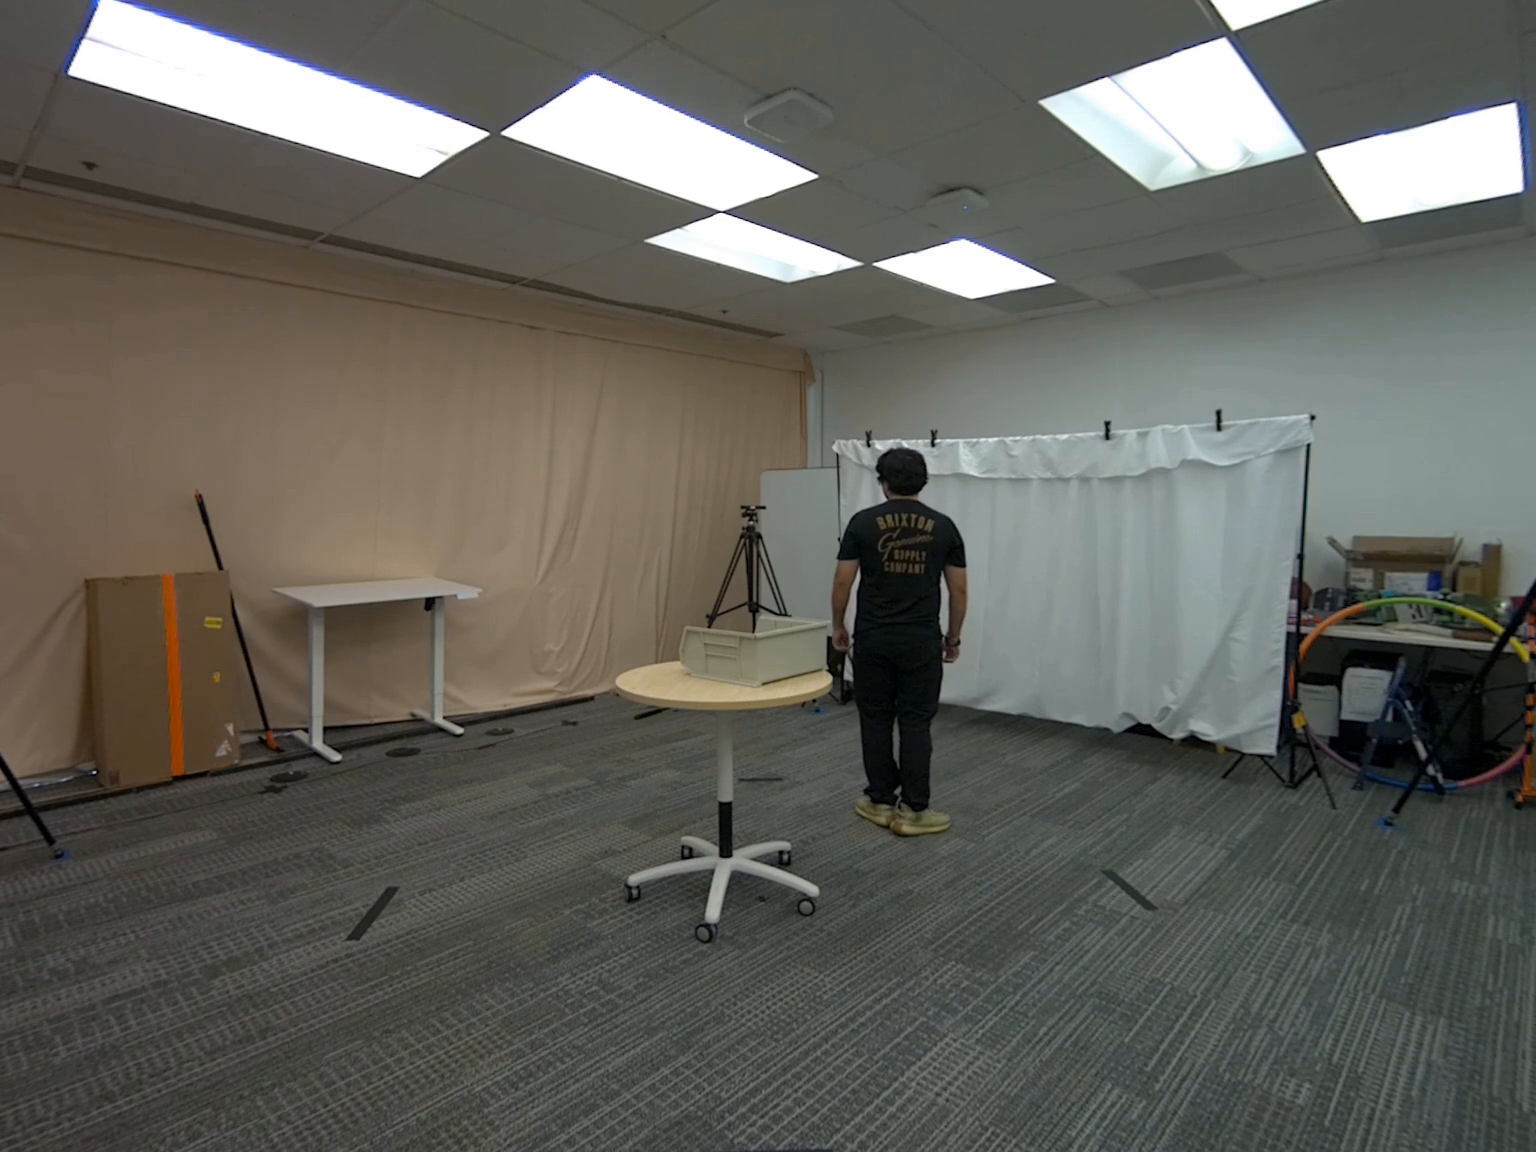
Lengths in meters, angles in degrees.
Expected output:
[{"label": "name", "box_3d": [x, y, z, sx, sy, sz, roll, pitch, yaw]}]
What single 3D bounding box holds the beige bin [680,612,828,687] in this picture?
[{"label": "beige bin", "box_3d": [-0.044, 0.263, 3.064, 0.390, 0.188, 0.409, 4, 6, 42]}]
